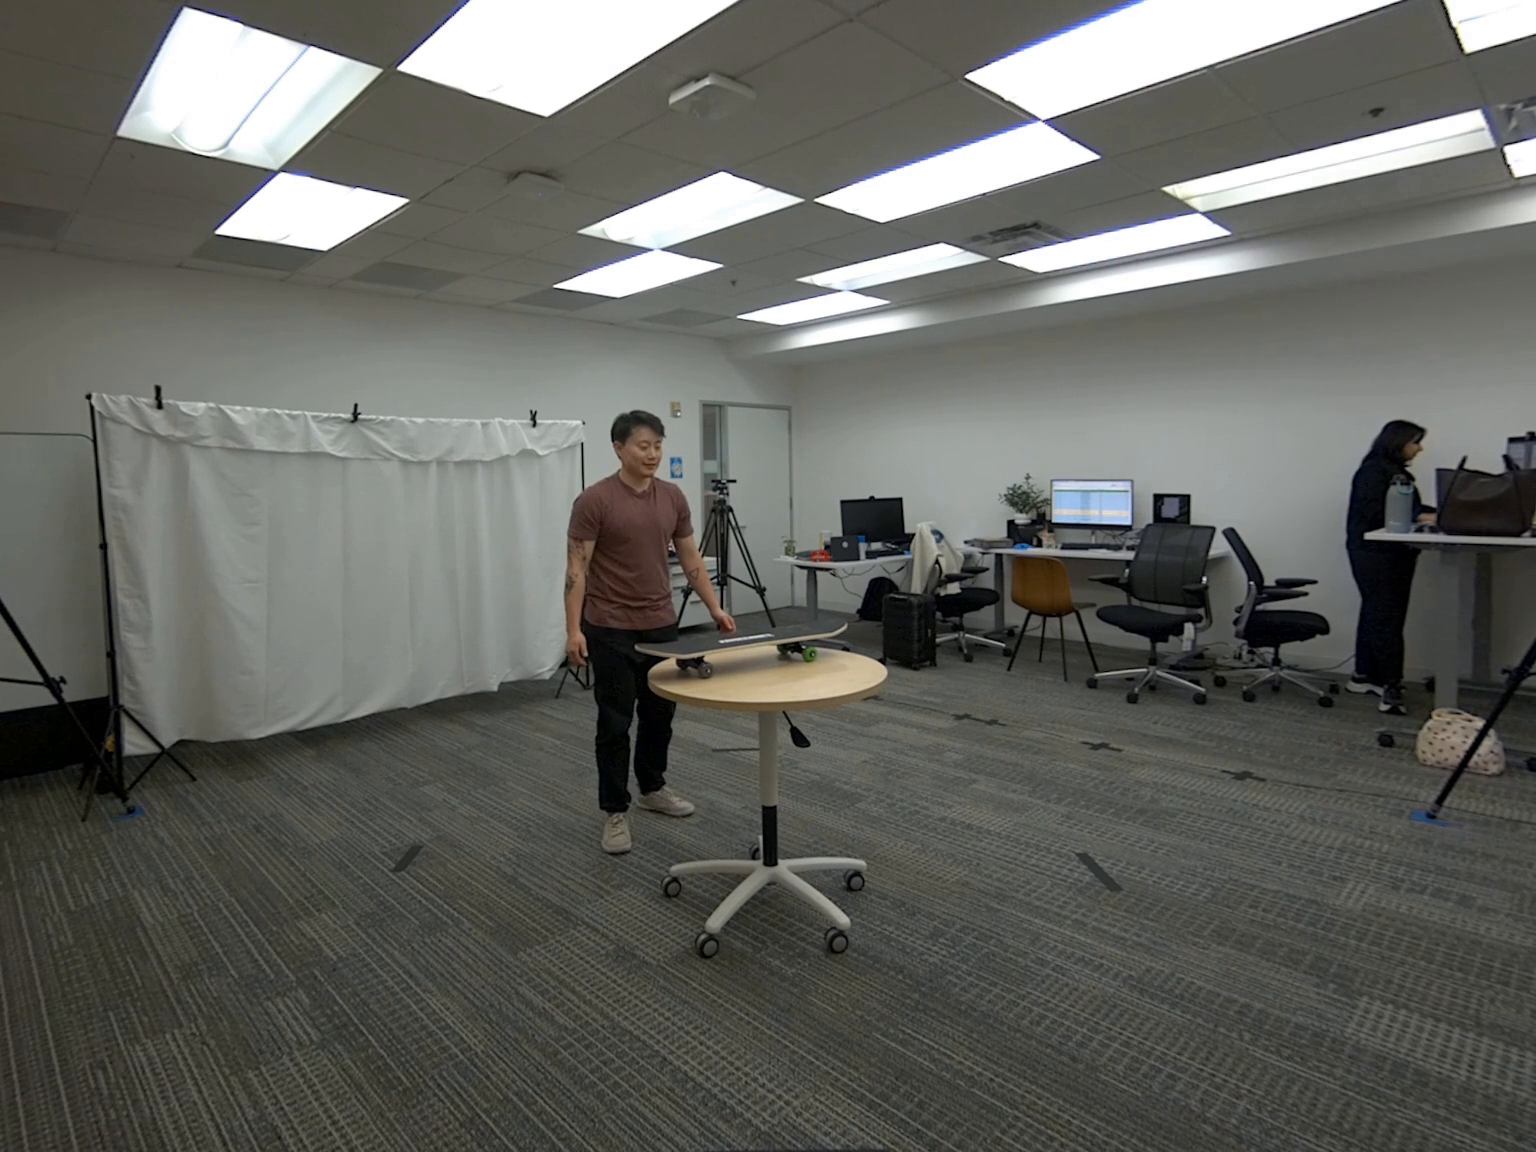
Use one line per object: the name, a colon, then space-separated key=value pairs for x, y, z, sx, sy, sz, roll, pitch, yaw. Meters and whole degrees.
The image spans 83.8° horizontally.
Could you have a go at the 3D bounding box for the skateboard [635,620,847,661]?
skateboard: x=-0.067 y=0.246 z=2.830 sx=0.768 sy=0.110 sz=0.199 roll=-5 pitch=7 yaw=-29
